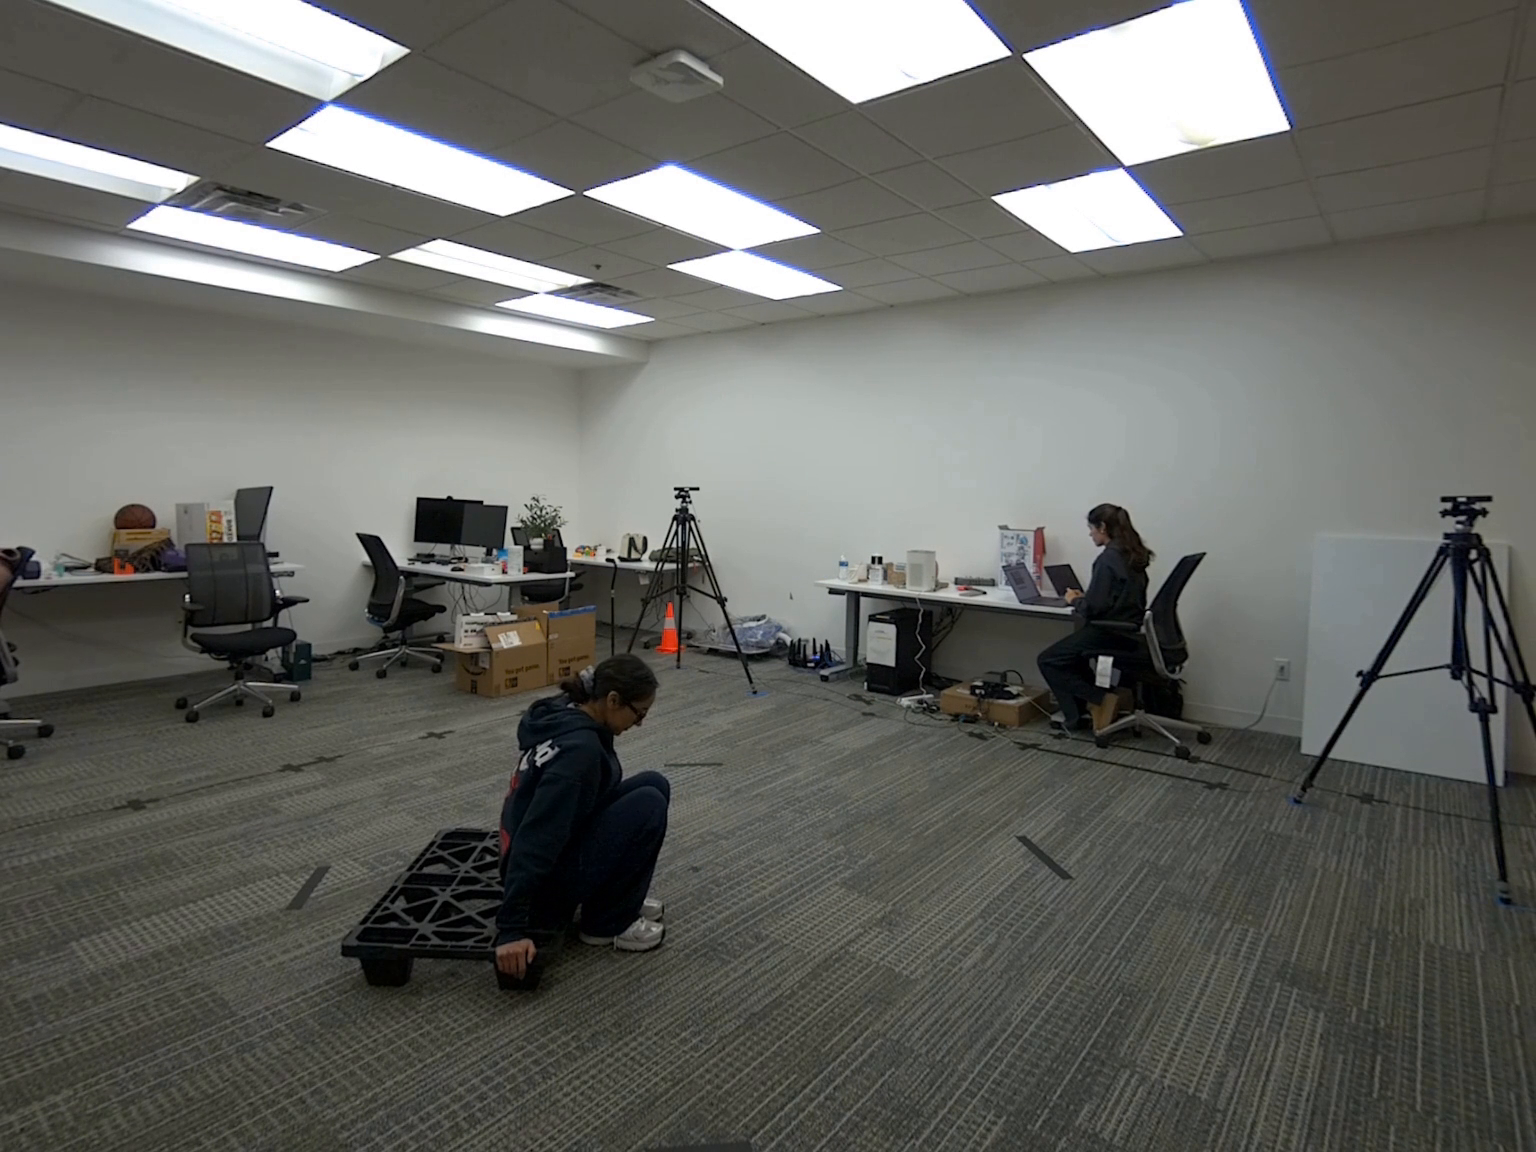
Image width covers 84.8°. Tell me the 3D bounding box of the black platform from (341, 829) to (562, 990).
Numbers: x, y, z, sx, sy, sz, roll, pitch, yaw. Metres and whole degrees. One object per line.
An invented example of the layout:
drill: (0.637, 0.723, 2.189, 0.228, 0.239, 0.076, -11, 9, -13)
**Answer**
black platform: (-0.904, 1.026, 2.709, 0.605, 0.143, 0.809, -1, 5, -1)
